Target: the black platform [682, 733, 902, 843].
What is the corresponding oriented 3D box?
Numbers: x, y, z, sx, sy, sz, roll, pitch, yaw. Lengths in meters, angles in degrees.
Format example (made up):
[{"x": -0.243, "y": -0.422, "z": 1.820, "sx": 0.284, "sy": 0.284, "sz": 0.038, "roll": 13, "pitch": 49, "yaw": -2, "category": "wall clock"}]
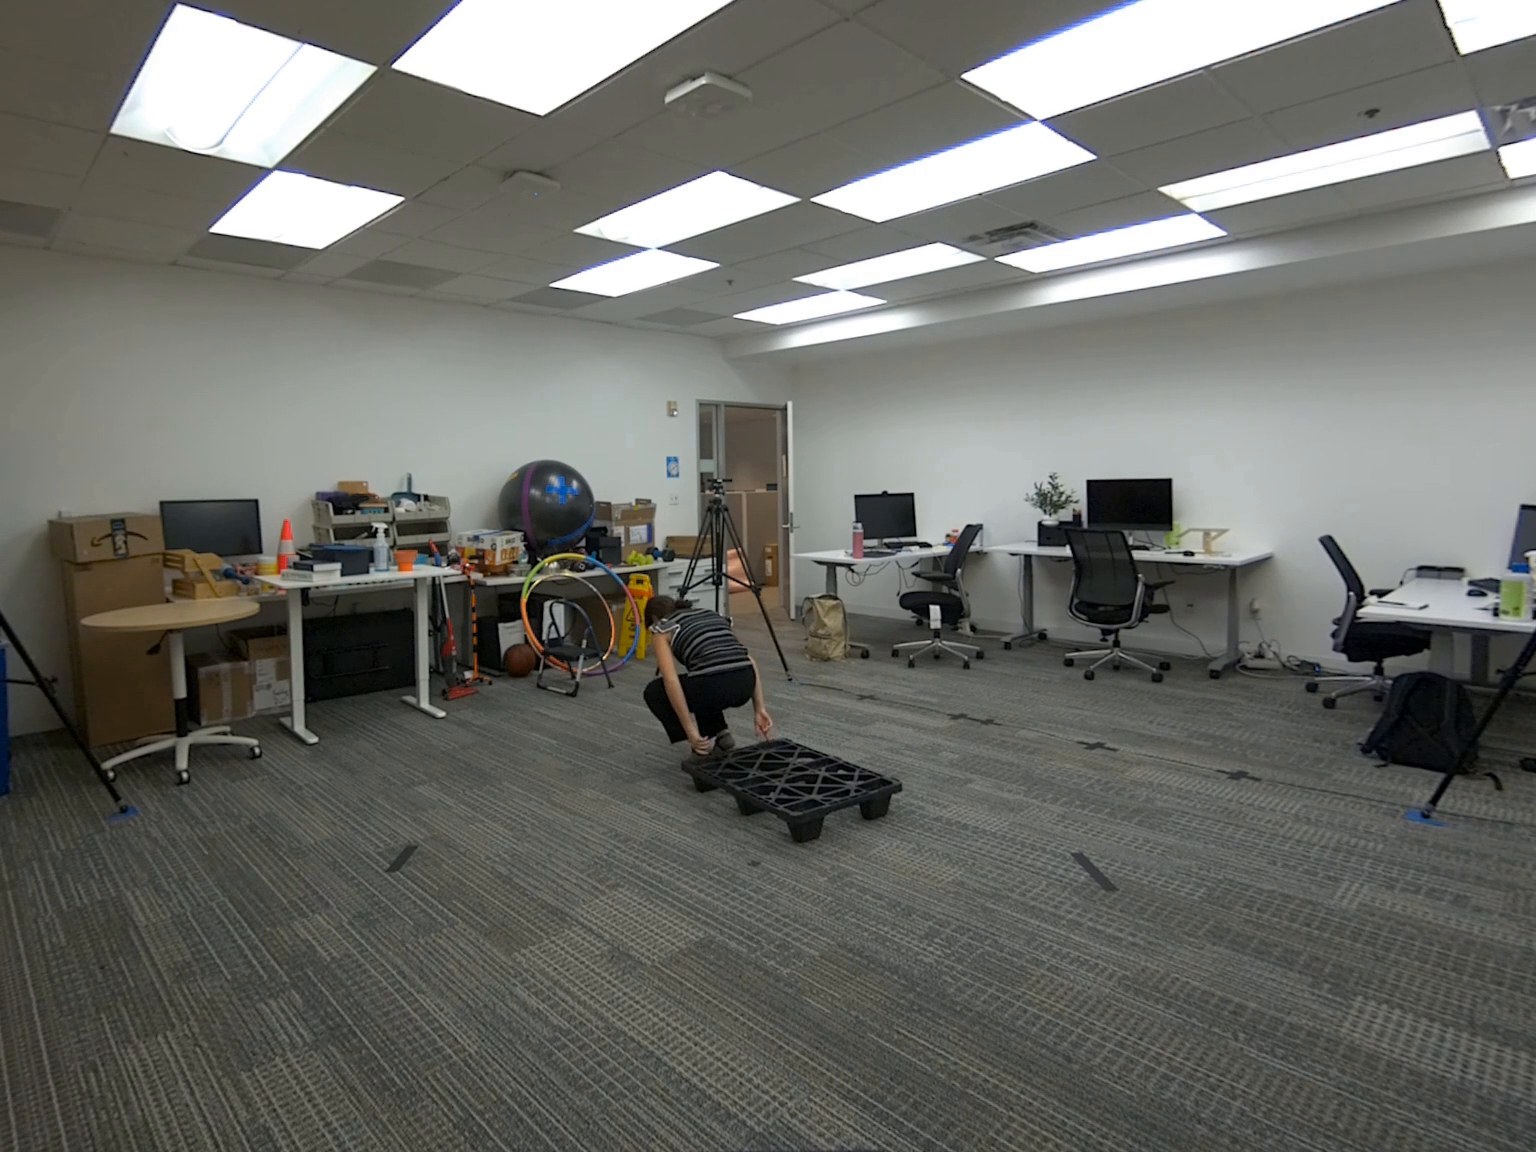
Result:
[{"x": 0.085, "y": 0.908, "z": 3.697, "sx": 0.589, "sy": 0.143, "sz": 0.830, "roll": -4, "pitch": 7, "yaw": -37, "category": "black platform"}]
